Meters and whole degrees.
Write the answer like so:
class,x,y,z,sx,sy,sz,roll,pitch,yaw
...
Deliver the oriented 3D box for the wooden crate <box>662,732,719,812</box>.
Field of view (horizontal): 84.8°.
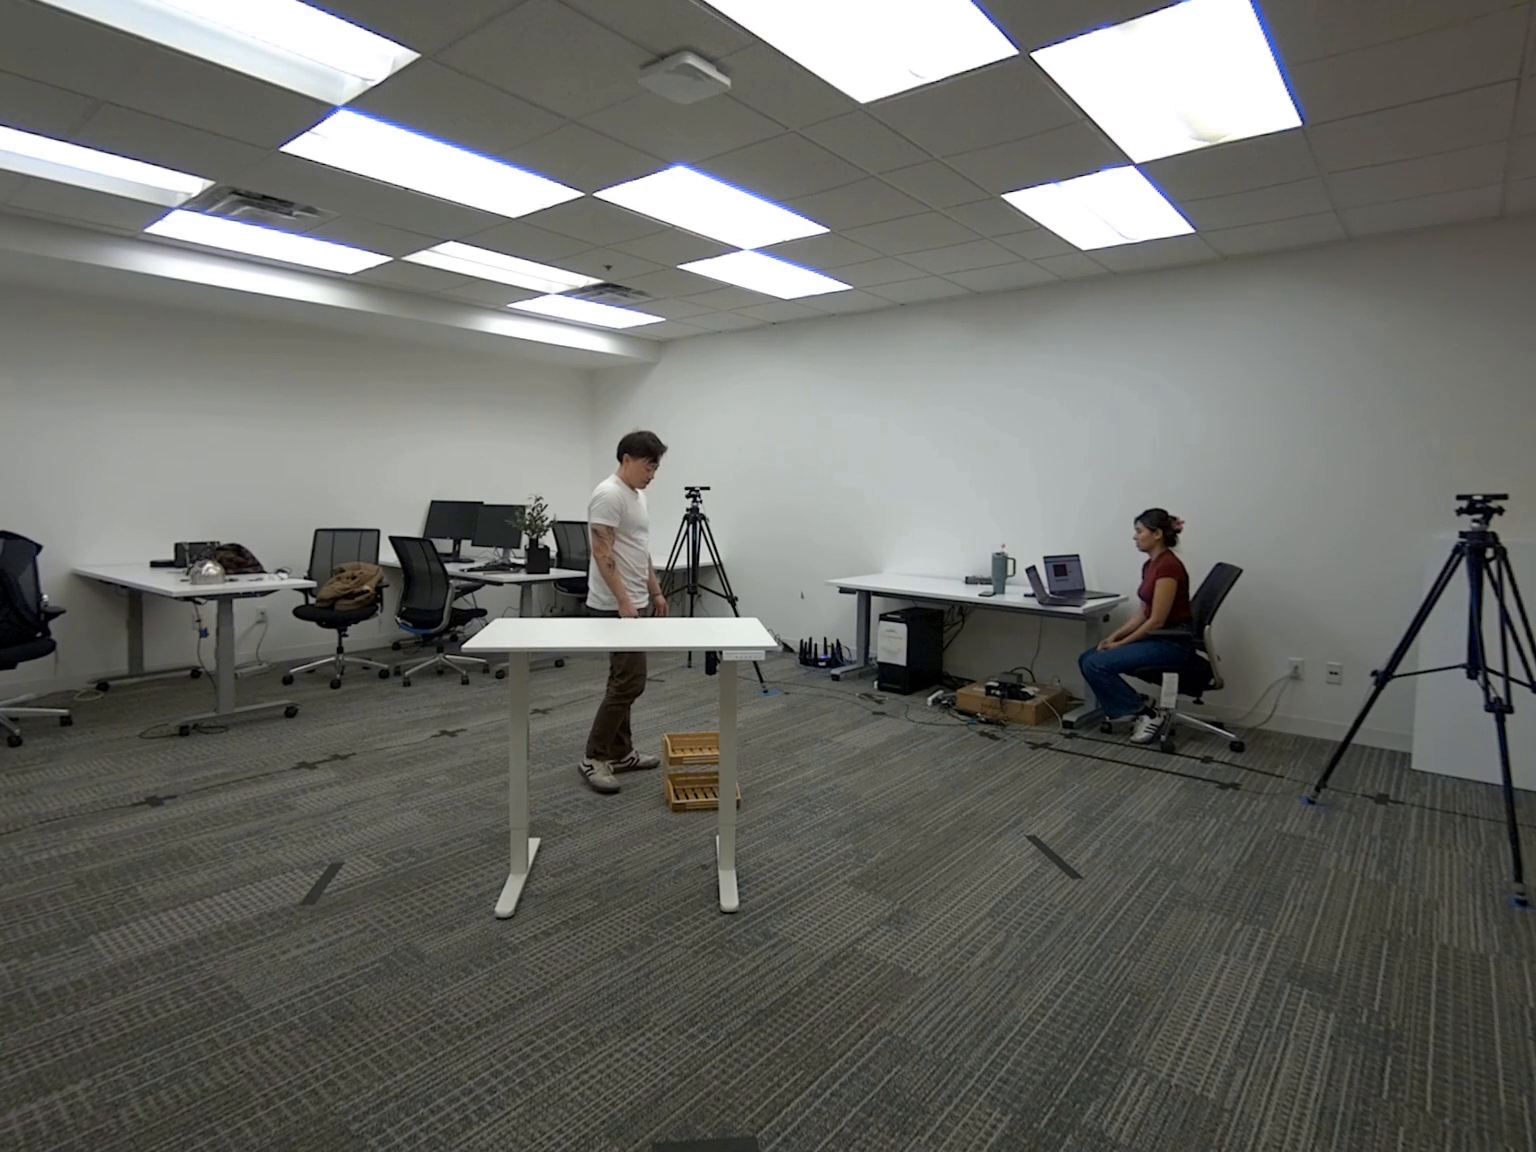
class,x,y,z,sx,sy,sz,roll,pitch,yaw
wooden crate,-0.313,0.856,3.799,0.320,0.272,0.307,0,4,-13
